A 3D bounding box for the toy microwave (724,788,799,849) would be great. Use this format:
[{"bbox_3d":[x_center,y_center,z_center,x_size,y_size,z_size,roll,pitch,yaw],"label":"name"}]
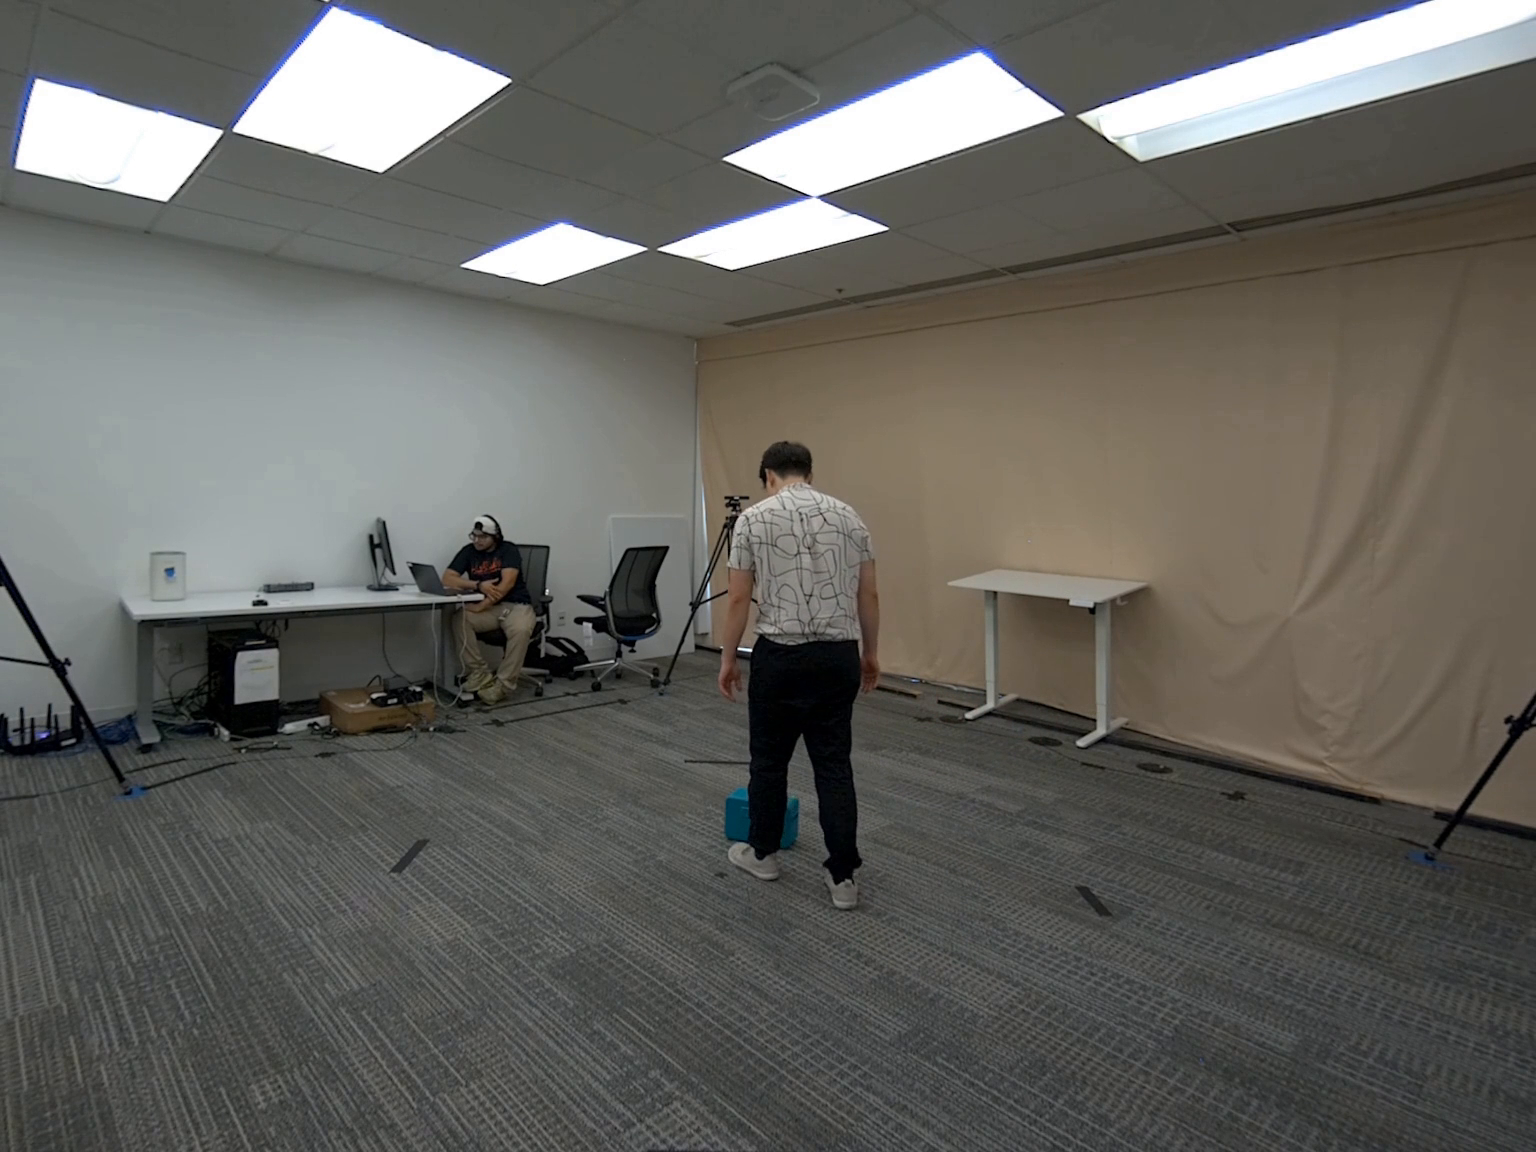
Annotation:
[{"bbox_3d":[-0.029,0.985,3.434,0.291,0.184,0.150,3,4,22],"label":"toy microwave"}]
